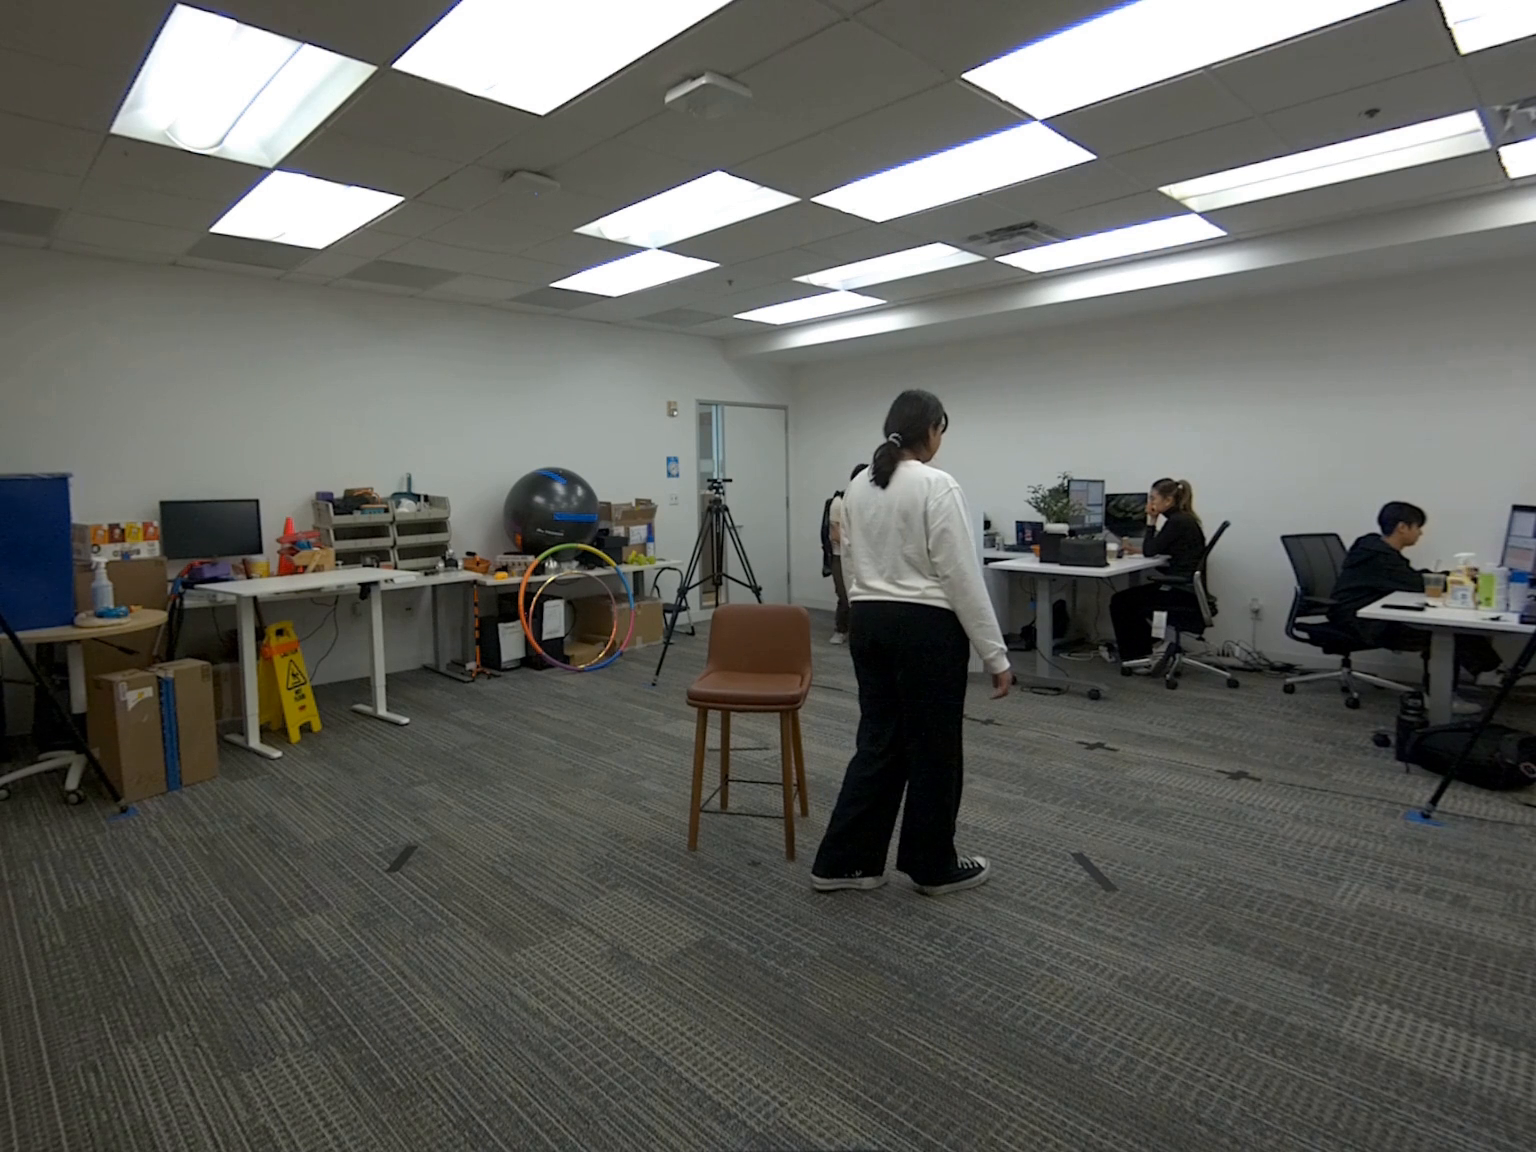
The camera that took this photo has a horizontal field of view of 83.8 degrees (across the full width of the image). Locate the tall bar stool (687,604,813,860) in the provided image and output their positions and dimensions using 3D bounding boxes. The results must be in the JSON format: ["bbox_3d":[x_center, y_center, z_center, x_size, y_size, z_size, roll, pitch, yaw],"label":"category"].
[{"bbox_3d":[-0.063,0.581,3.370,0.463,0.888,0.462,0,2,14],"label":"tall bar stool"}]
